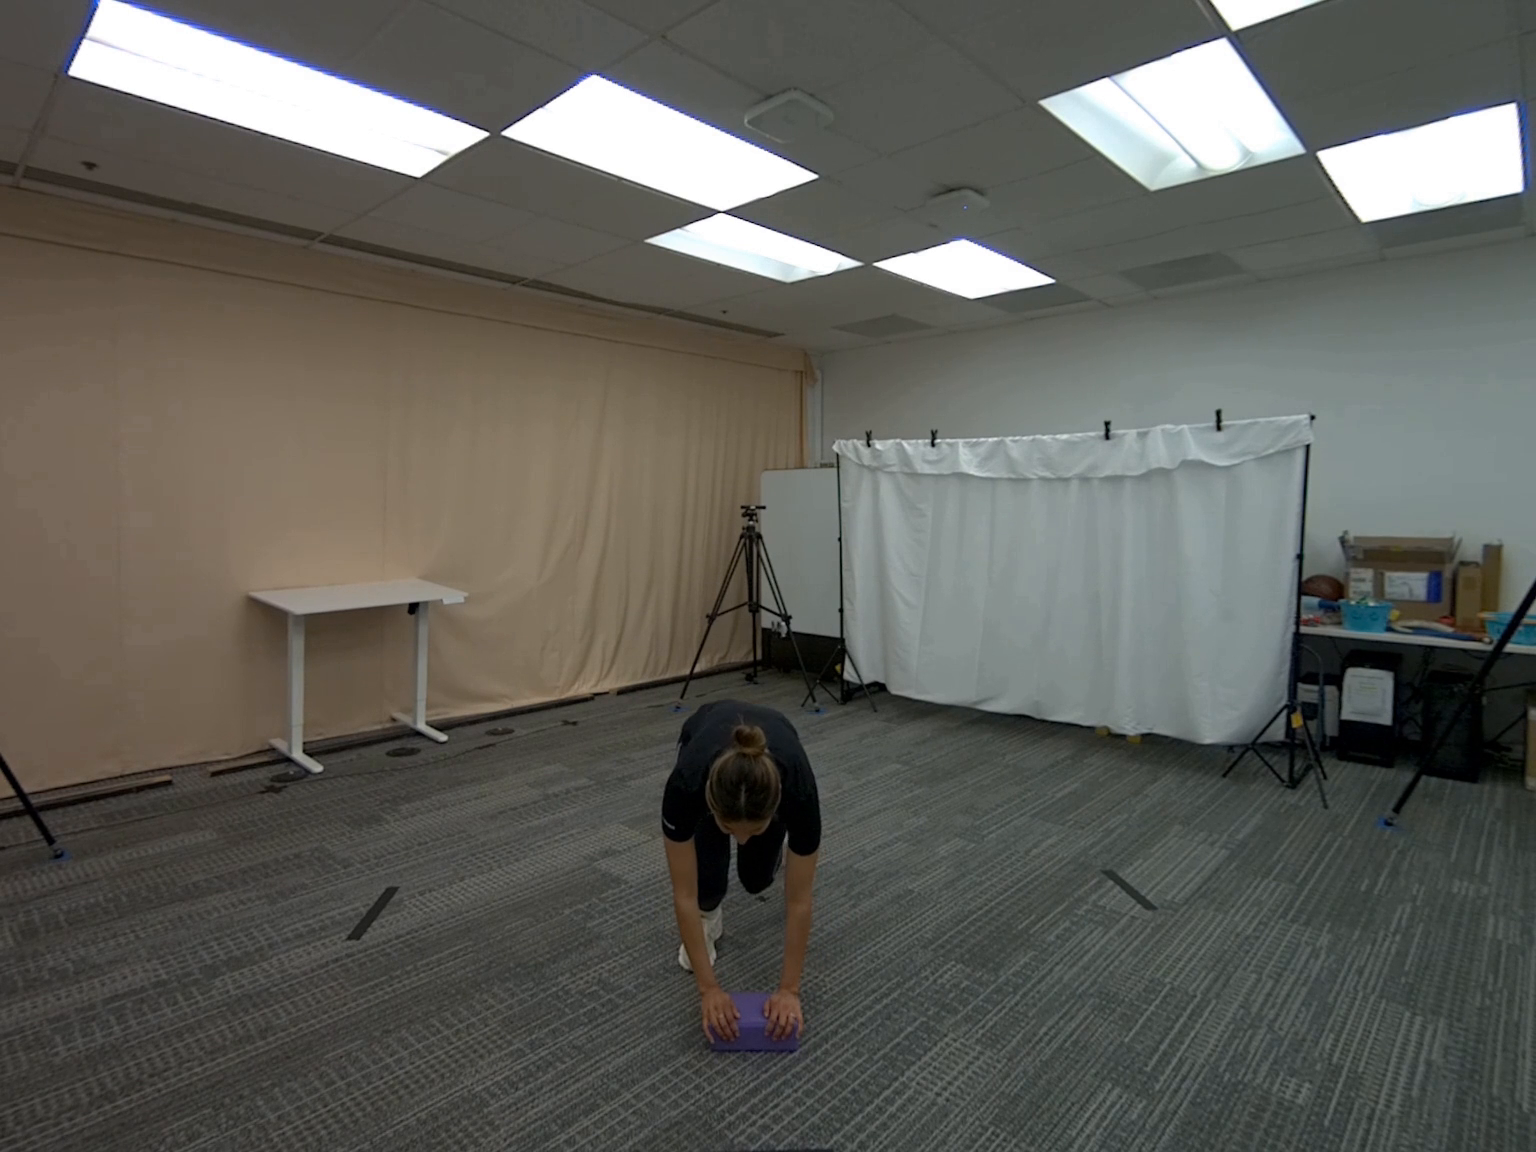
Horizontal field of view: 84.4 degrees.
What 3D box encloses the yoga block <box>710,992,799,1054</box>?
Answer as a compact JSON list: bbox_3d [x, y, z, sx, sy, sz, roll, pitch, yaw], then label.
[{"bbox_3d":[-0.036,1.174,2.217,0.229,0.076,0.150,1,11,-1],"label":"yoga block"}]
